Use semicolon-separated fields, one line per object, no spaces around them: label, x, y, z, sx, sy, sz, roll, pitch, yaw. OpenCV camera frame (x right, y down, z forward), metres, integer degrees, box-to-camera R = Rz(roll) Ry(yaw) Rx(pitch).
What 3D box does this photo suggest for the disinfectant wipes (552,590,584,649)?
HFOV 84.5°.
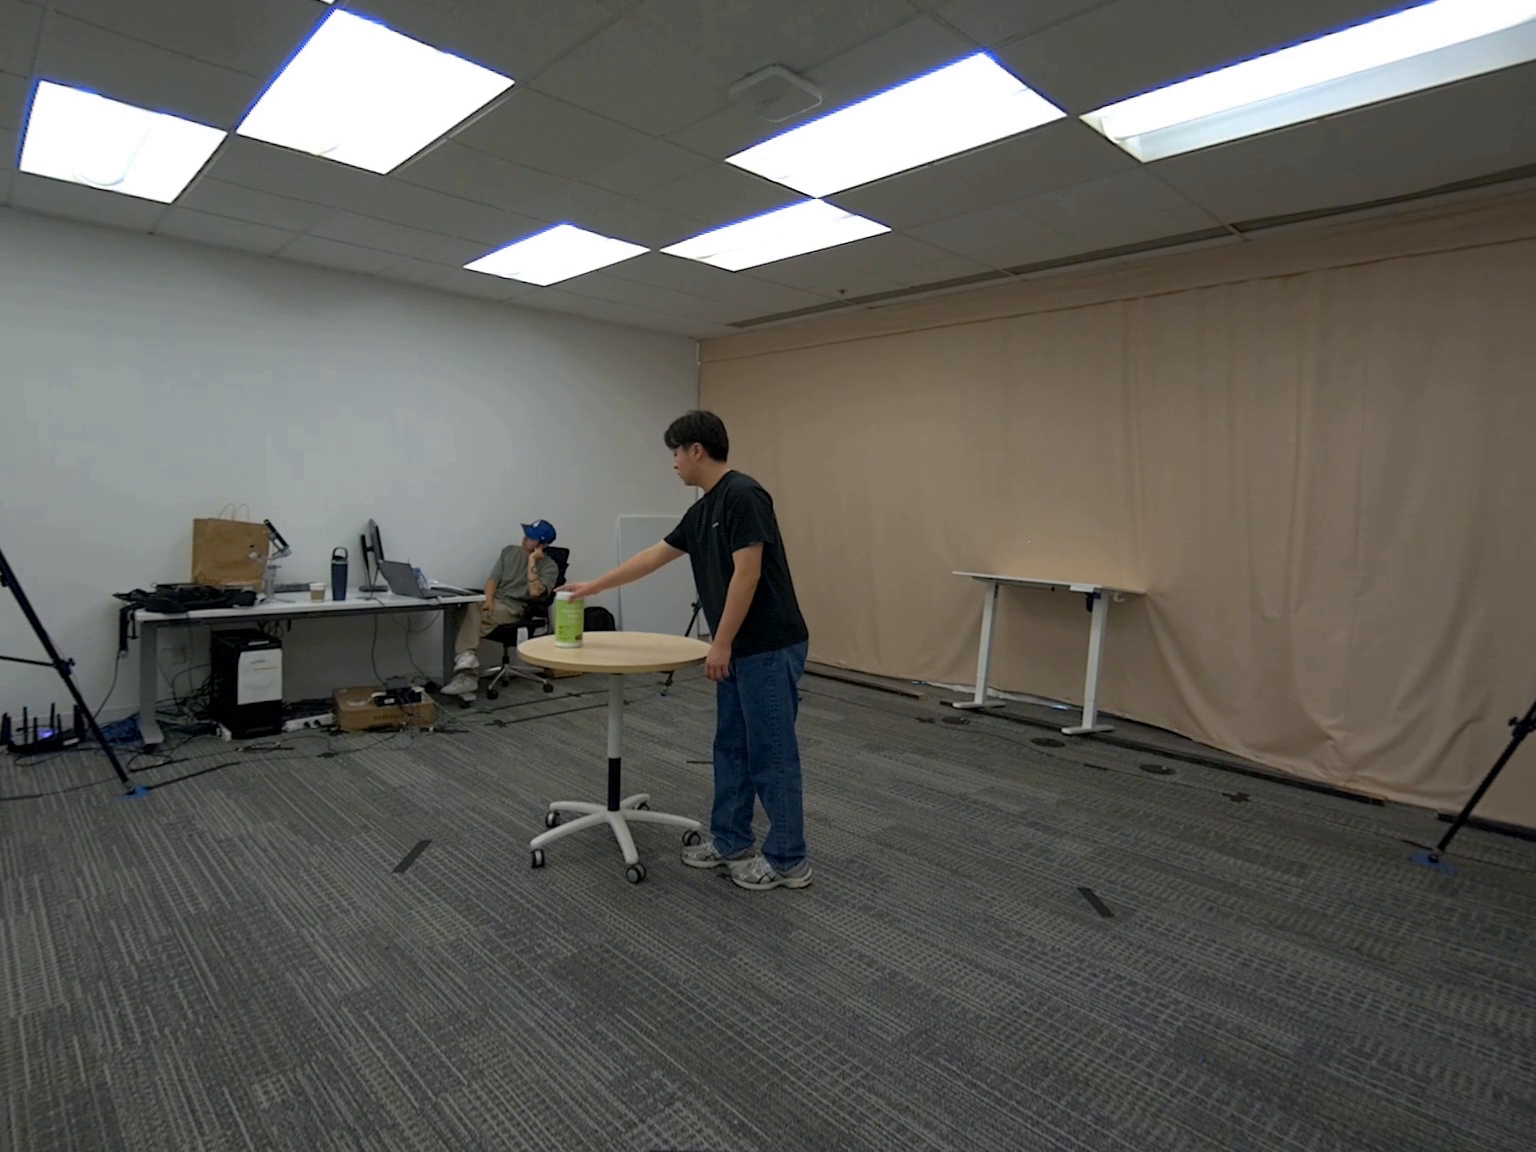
disinfectant wipes;-0.781;0.171;3.304;0.118;0.217;0.118;2;4;-2
